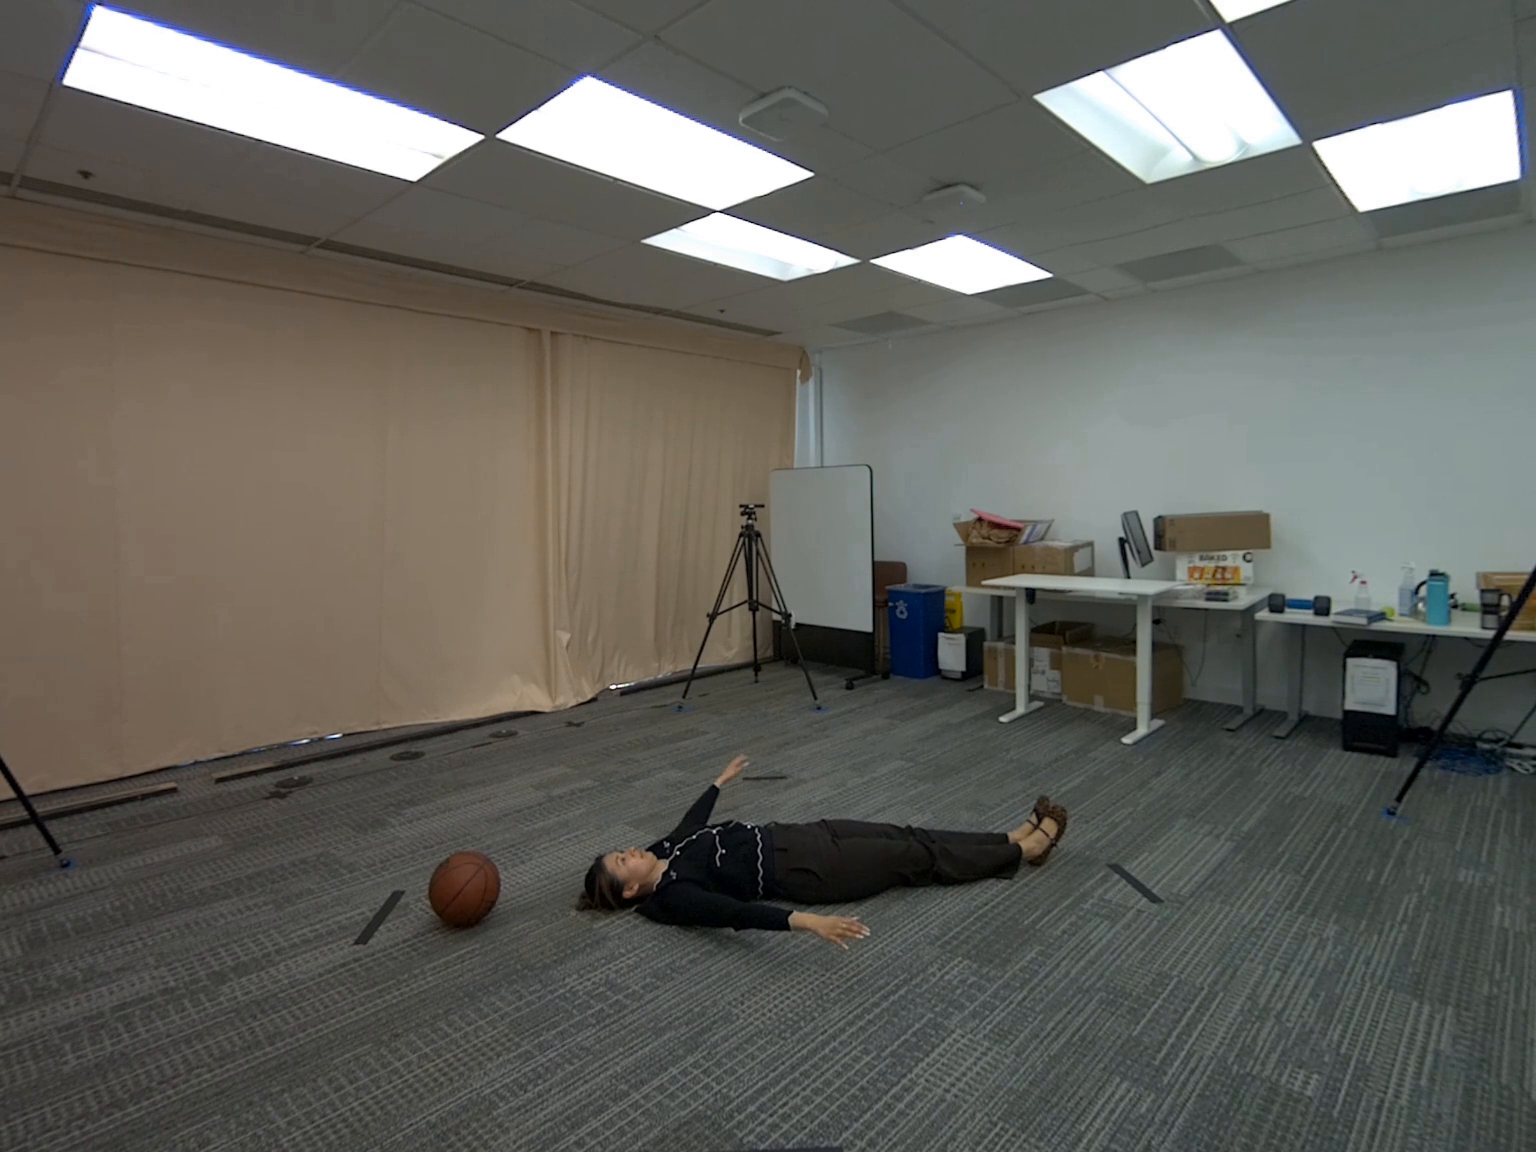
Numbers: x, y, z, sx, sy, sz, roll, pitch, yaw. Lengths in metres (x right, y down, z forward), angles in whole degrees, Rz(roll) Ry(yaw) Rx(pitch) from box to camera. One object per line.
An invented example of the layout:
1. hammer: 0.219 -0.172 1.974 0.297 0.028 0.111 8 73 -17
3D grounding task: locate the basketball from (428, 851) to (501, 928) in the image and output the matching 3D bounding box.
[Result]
1. basketball: -1.025 1.056 2.850 0.236 0.235 0.237 -1 4 -2
